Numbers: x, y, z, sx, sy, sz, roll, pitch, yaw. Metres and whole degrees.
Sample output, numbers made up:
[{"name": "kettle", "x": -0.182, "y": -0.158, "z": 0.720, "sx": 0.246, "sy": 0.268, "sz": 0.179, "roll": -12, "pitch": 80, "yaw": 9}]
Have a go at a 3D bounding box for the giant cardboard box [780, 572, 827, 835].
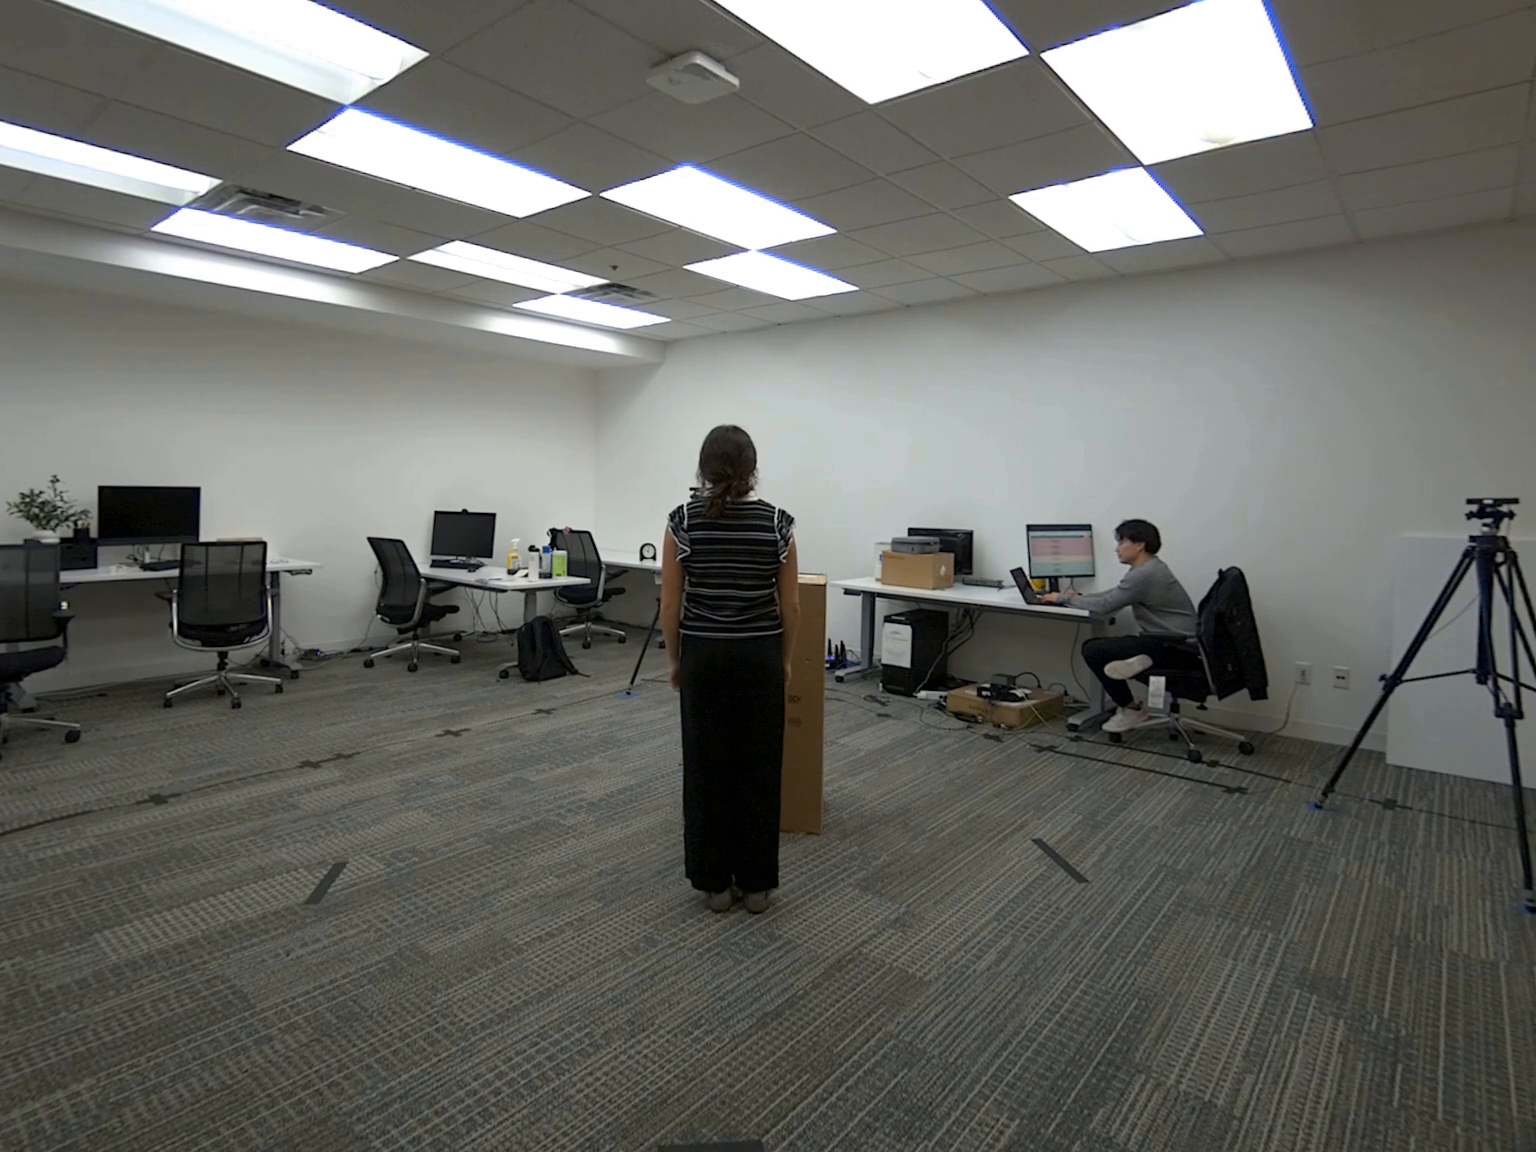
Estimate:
[{"name": "giant cardboard box", "x": -0.053, "y": 0.505, "z": 3.659, "sx": 0.582, "sy": 1.023, "sz": 0.424, "roll": 1, "pitch": 3, "yaw": 6}]
